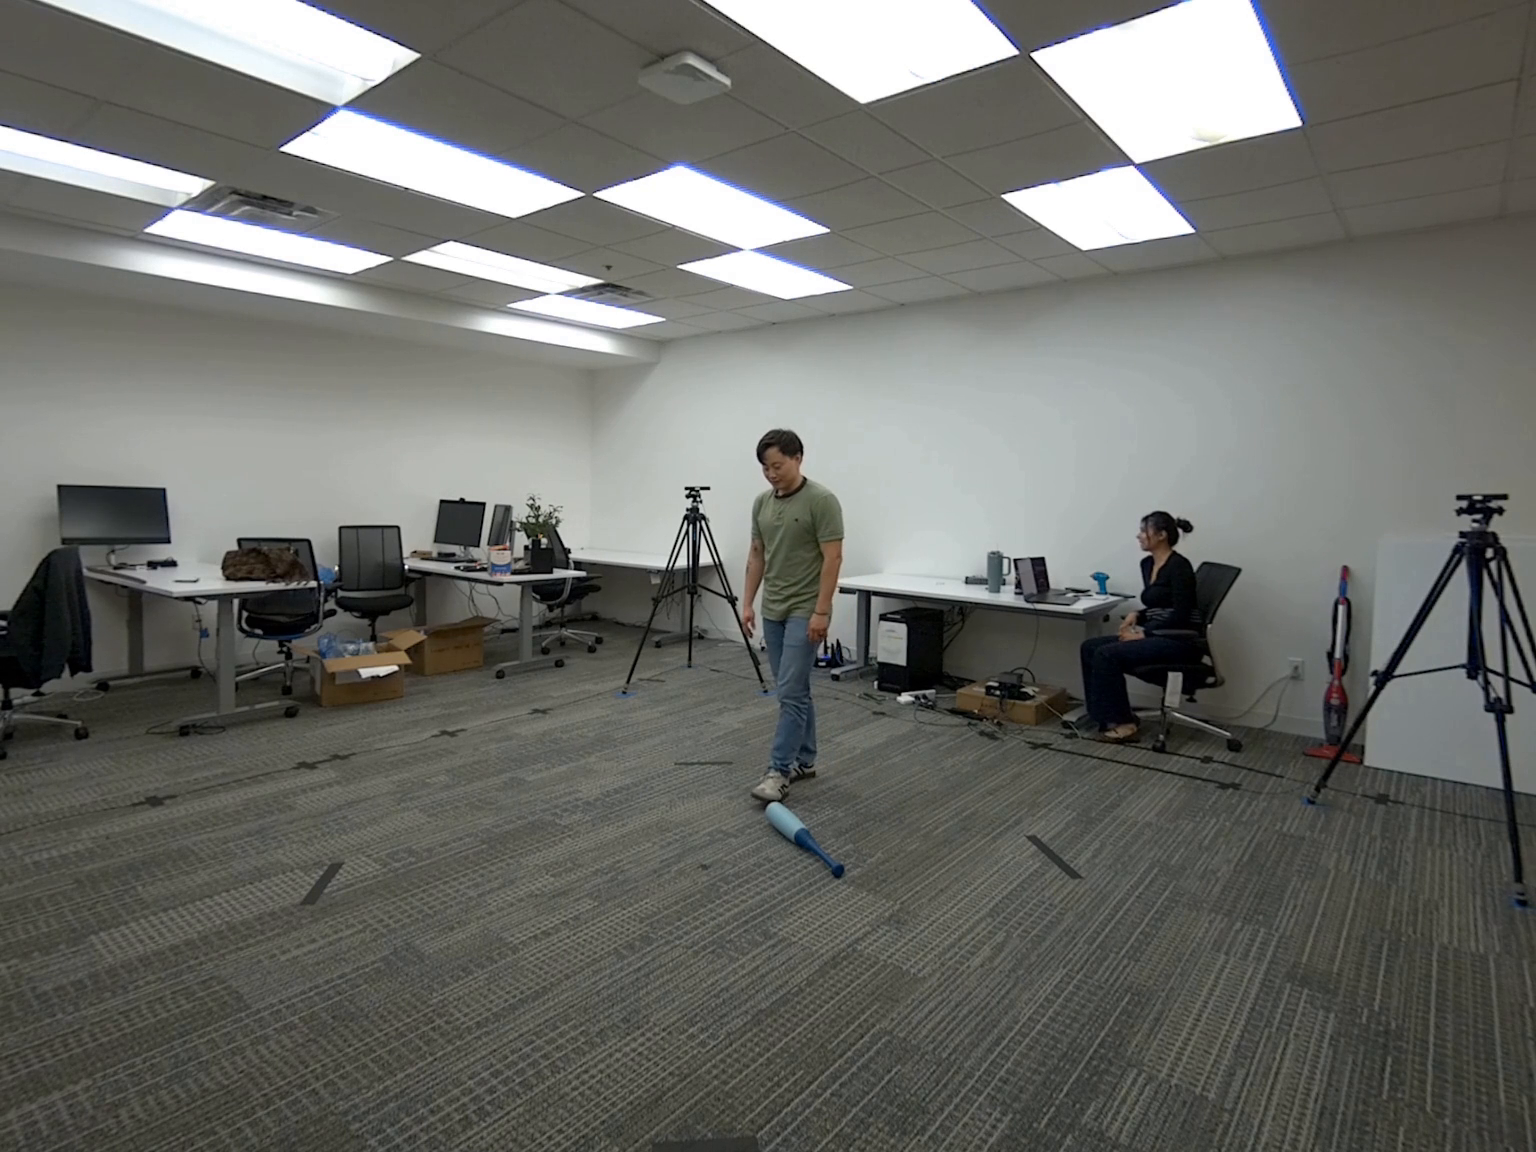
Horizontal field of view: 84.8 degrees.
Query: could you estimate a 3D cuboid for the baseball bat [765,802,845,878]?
[{"bbox_3d":[0.131,1.016,3.296,0.087,0.088,0.559,-1,9,-25],"label":"baseball bat"}]
